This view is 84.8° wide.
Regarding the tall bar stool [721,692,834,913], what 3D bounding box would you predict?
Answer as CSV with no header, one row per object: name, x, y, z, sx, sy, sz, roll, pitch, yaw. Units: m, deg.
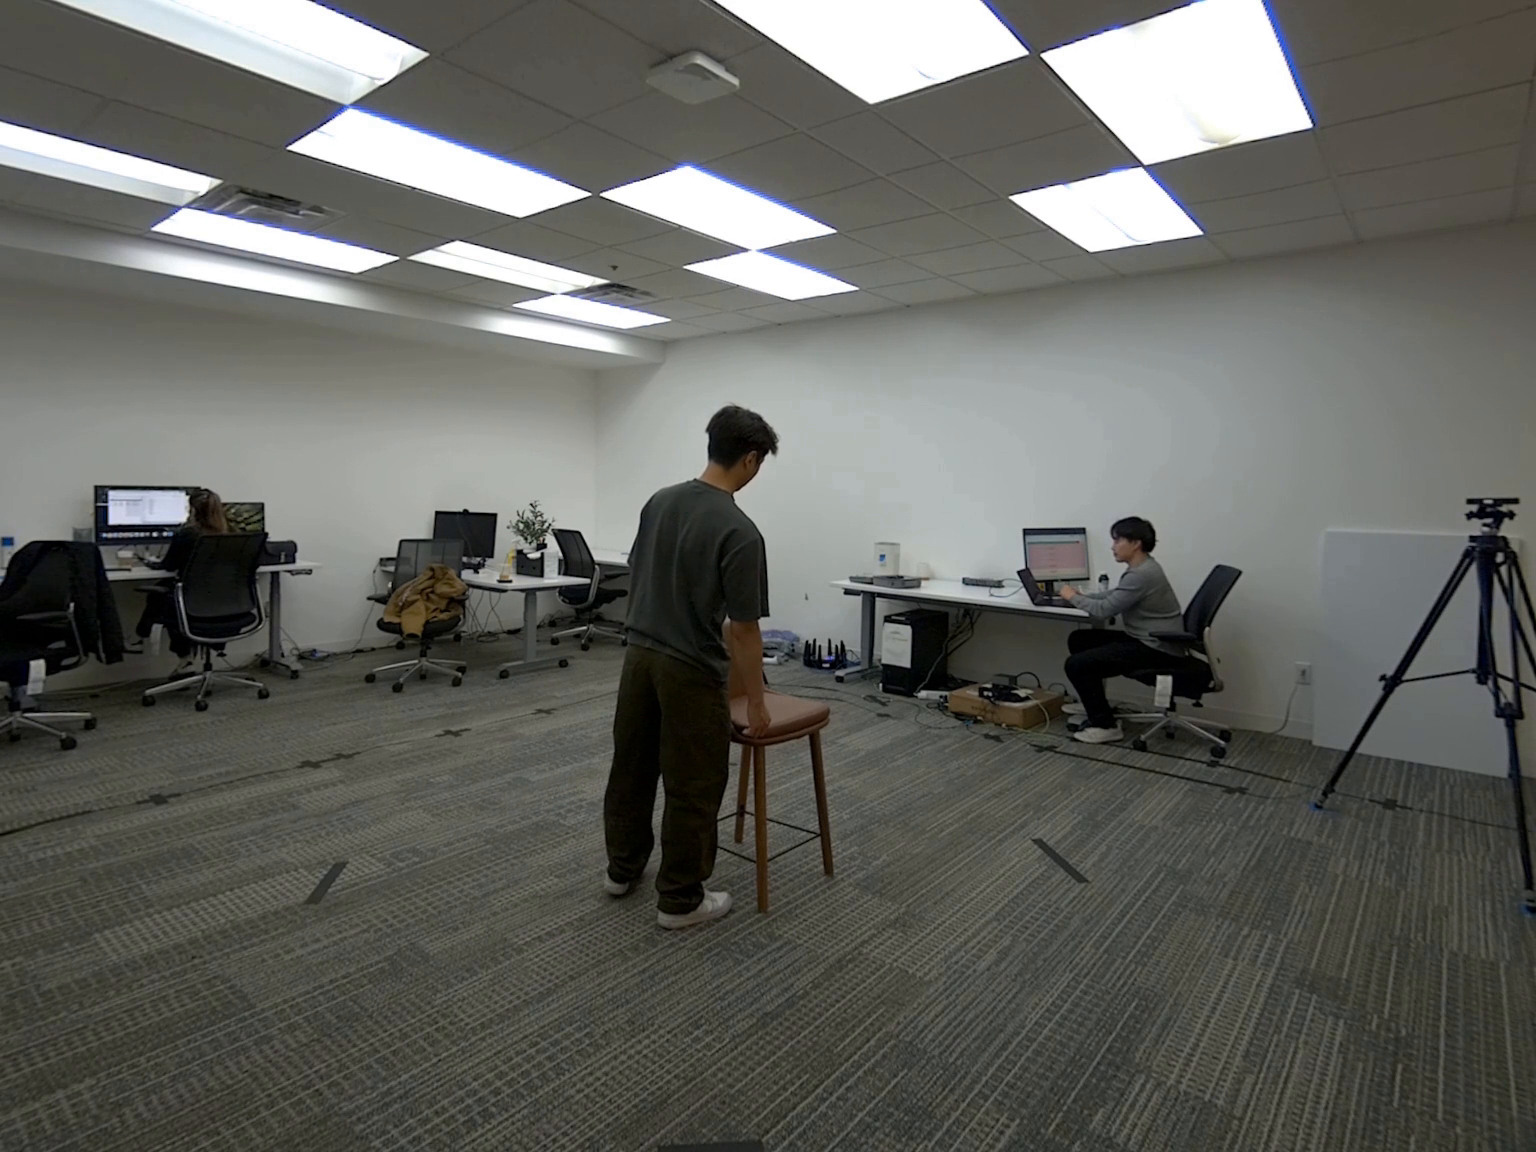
tall bar stool,-0.058,0.638,3.070,0.483,0.889,0.442,2,2,40
